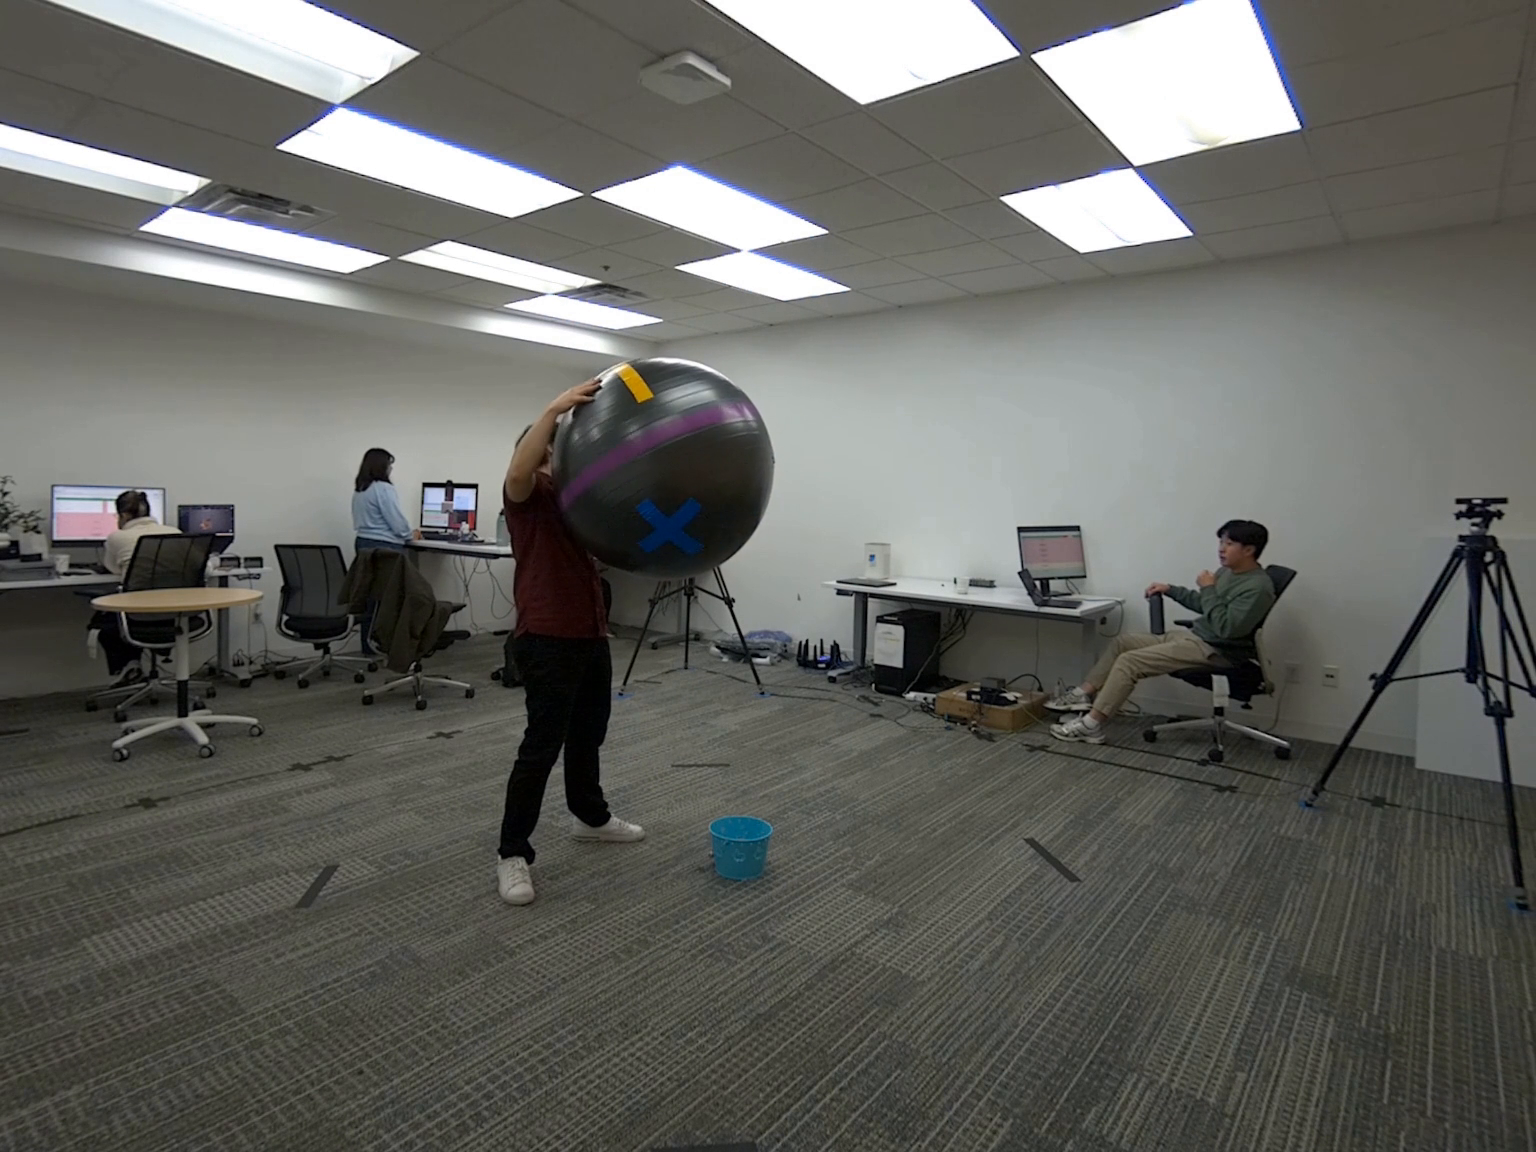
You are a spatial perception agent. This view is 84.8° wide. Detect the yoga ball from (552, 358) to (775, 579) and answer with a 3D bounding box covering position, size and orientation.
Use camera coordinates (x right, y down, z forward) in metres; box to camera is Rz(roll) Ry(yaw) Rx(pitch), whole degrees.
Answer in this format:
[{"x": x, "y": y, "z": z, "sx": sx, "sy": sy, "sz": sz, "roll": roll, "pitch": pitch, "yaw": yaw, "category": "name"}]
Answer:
[{"x": -0.370, "y": -0.364, "z": 2.905, "sx": 0.757, "sy": 0.756, "sz": 0.762, "roll": 1, "pitch": 4, "yaw": -2, "category": "yoga ball"}]
